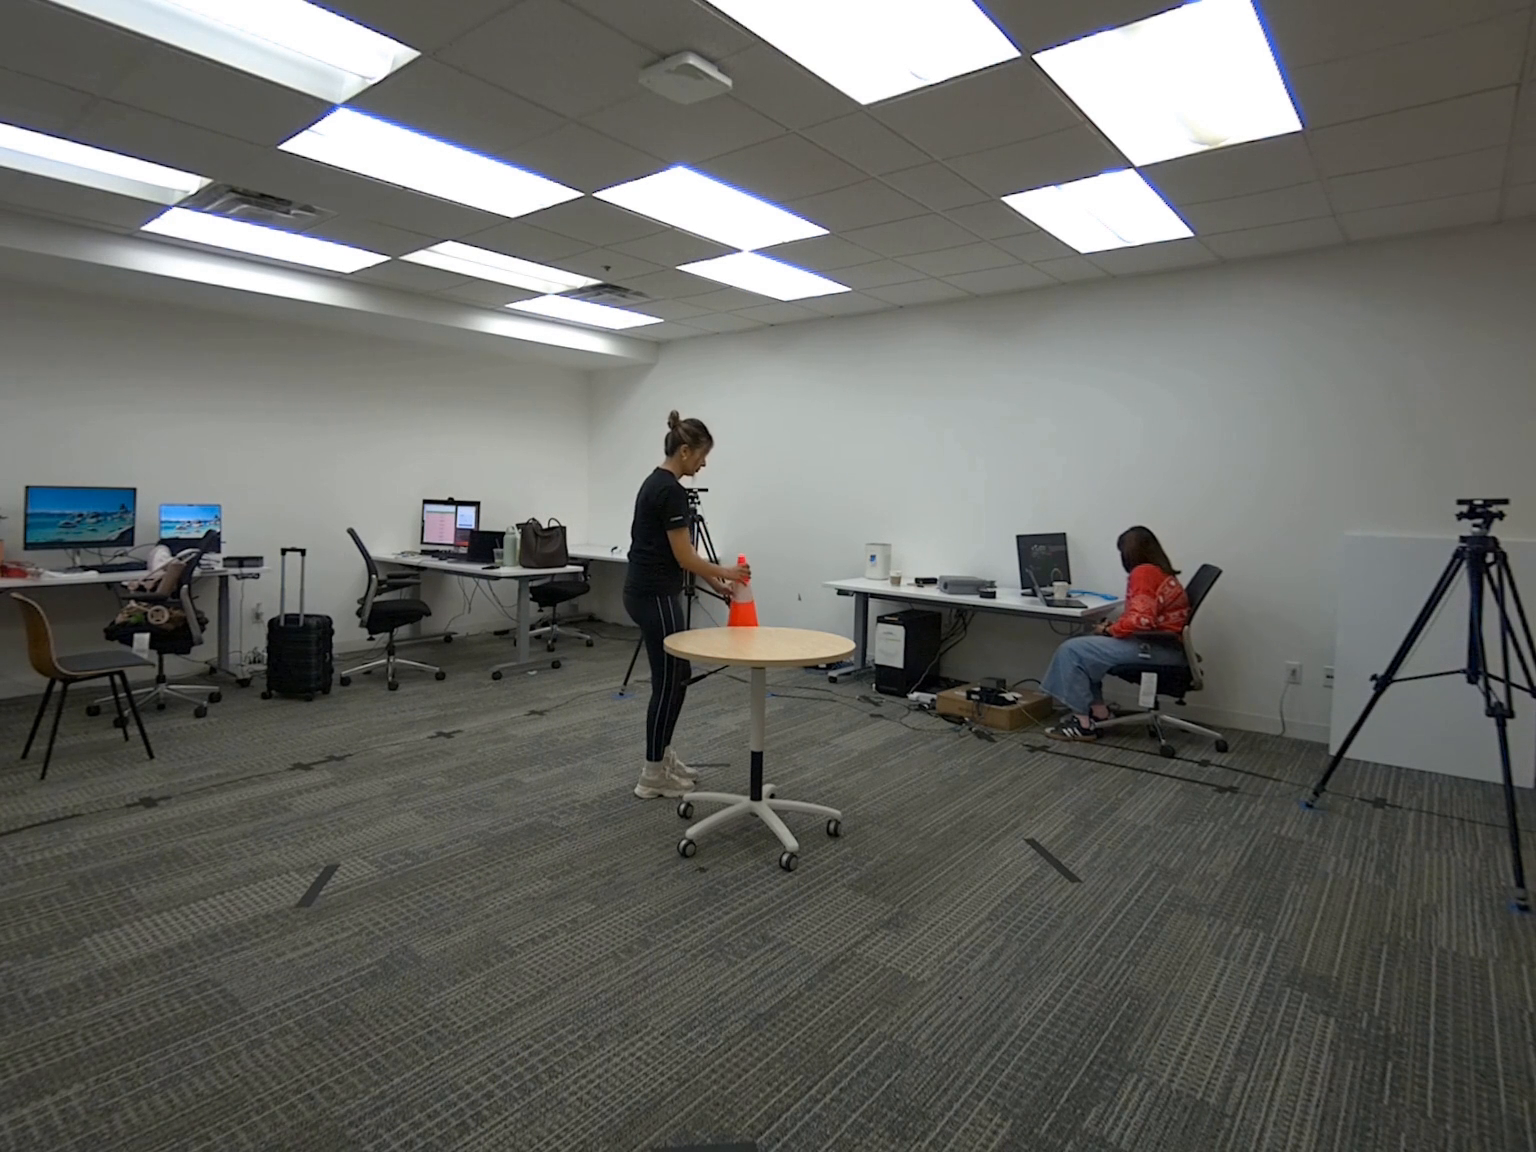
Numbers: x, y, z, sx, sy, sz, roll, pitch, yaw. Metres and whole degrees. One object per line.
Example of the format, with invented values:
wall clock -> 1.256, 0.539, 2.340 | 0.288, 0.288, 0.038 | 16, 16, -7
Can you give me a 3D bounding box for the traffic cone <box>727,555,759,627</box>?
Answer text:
traffic cone -> -0.140, 0.090, 4.001 | 0.211, 0.379, 0.199 | 8, 16, 31
